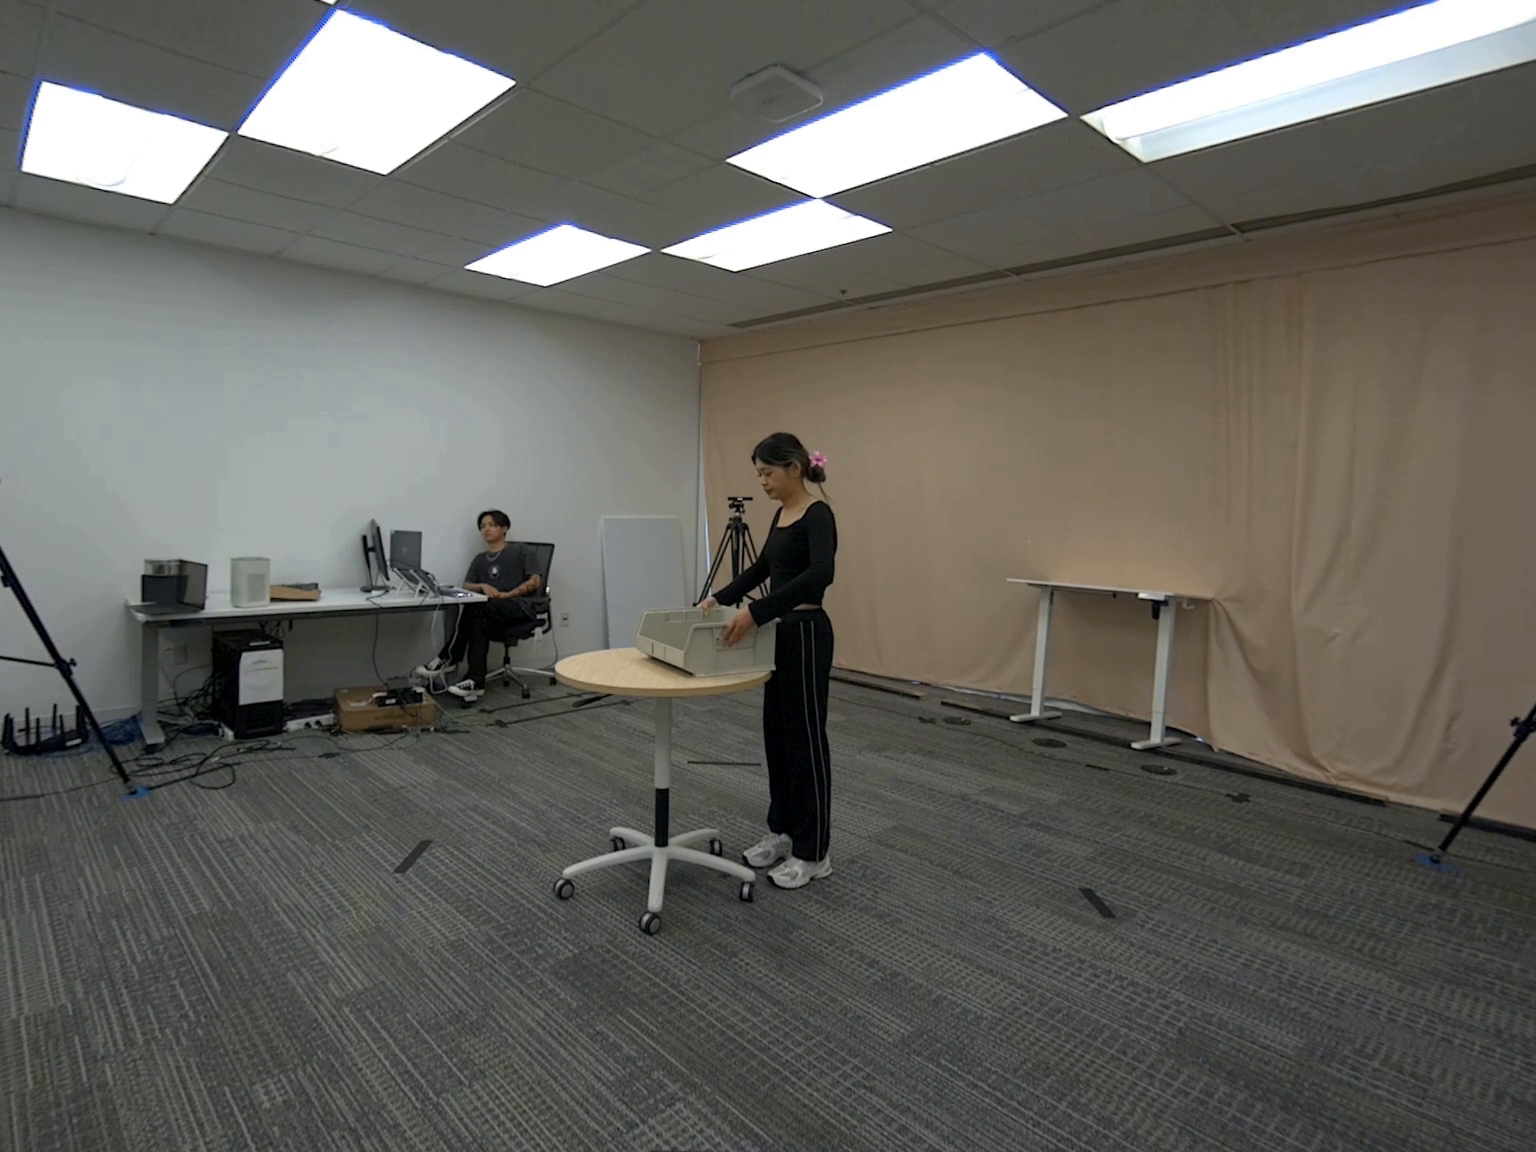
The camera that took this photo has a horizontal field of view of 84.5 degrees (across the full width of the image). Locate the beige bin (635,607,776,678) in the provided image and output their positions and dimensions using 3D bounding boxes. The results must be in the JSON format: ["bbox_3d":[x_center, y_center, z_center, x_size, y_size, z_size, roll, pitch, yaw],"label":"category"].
[{"bbox_3d":[-0.232,0.226,3.023,0.369,0.189,0.432,0,3,-31],"label":"beige bin"}]
